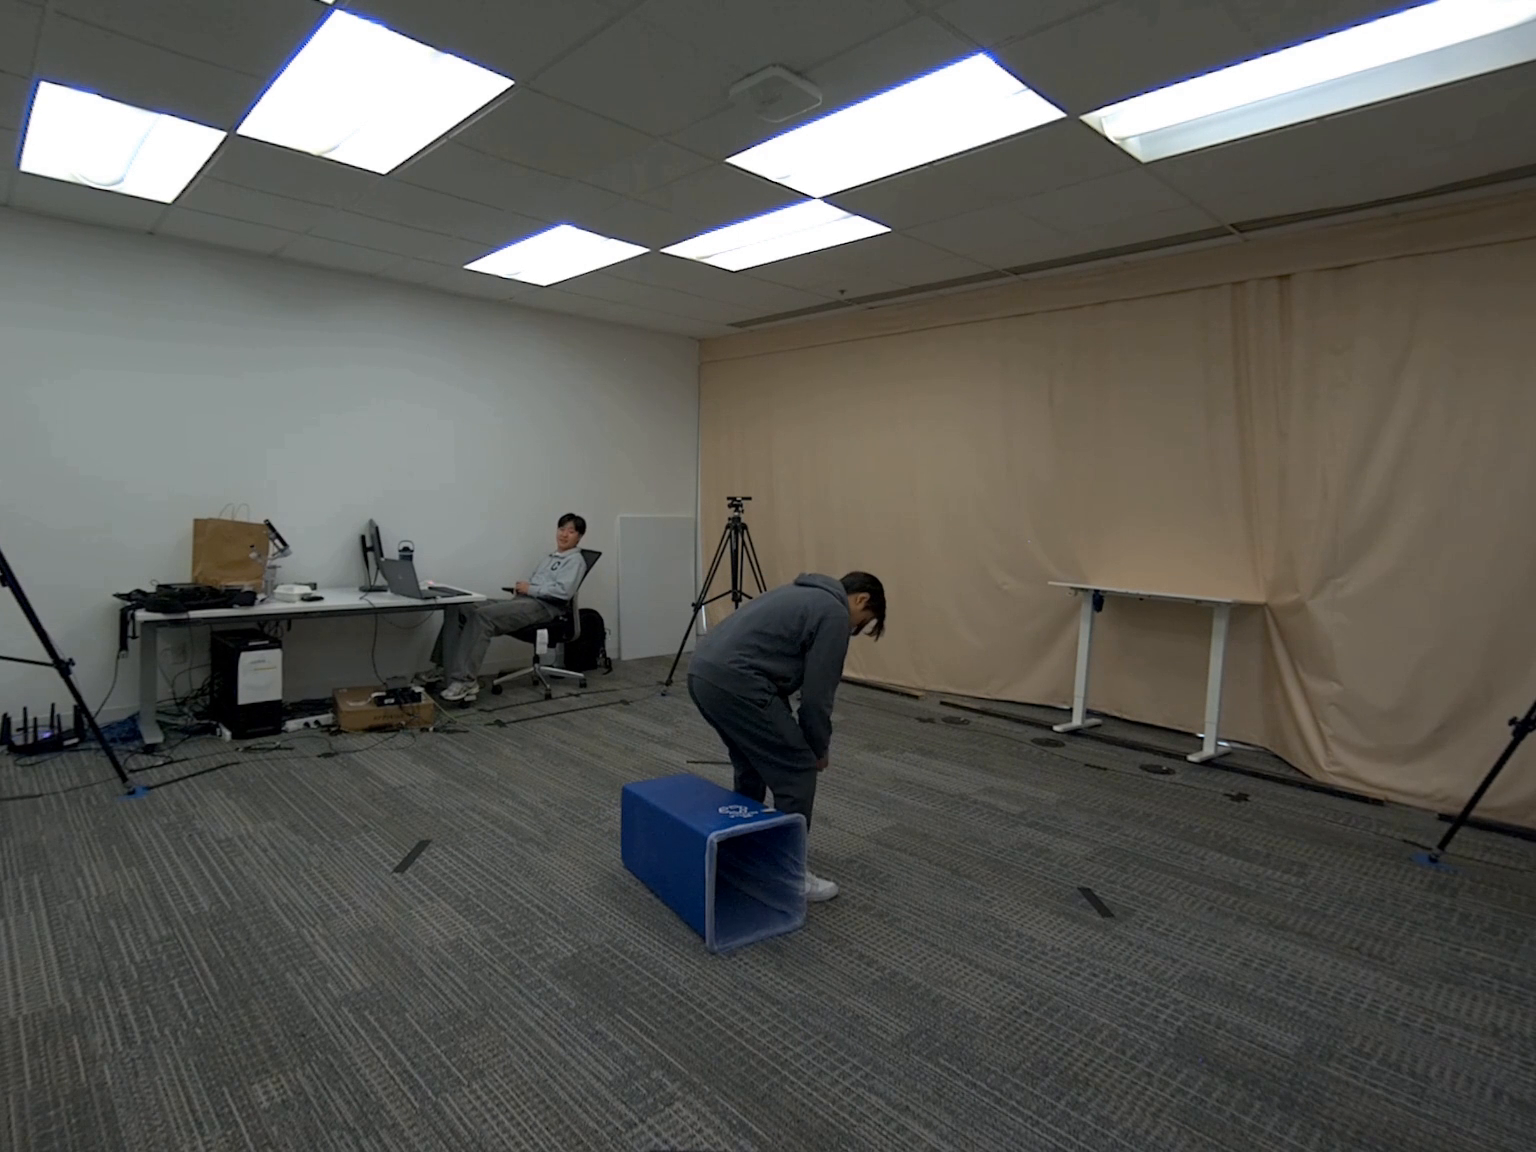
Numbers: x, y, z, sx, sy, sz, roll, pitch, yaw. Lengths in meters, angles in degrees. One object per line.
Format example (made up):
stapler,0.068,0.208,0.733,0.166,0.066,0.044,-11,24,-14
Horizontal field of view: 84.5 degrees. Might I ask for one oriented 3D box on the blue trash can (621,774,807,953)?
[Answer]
blue trash can,-0.237,0.950,2.937,0.366,0.377,0.730,-2,3,-34
